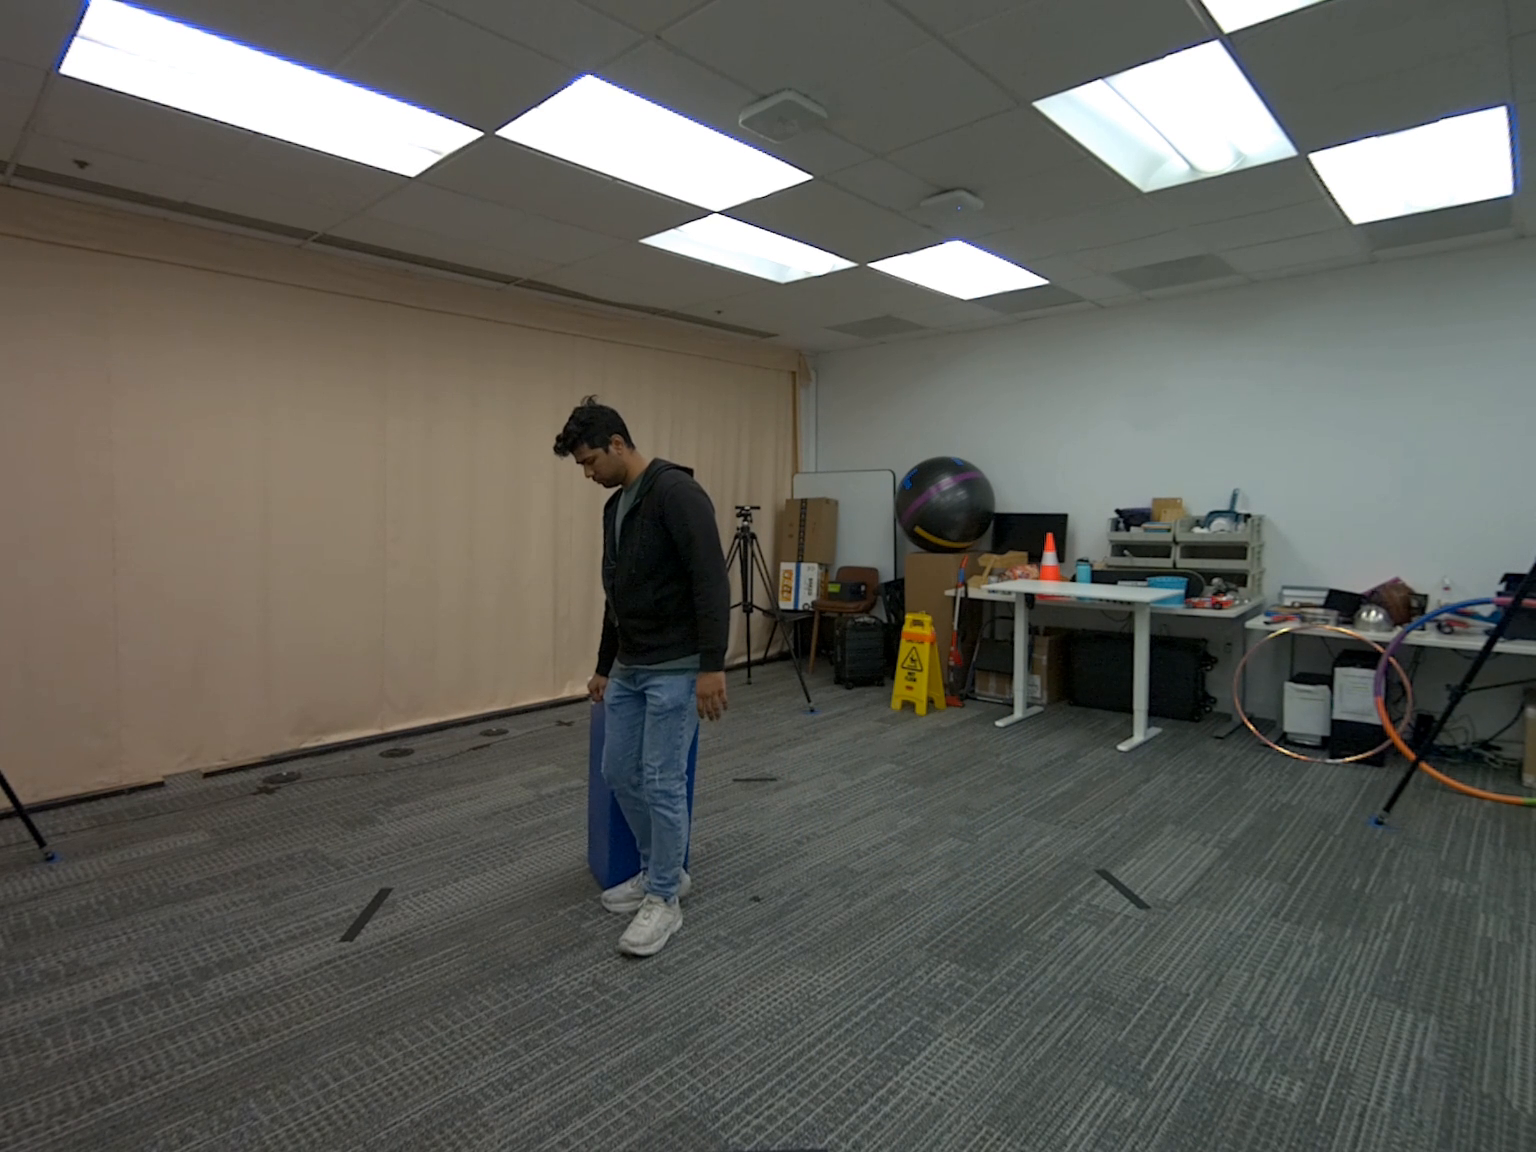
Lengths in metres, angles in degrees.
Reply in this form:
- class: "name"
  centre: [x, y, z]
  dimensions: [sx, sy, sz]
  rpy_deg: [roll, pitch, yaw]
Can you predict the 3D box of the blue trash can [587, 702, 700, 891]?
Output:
- class: "blue trash can"
  centre: [-0.473, 0.767, 3.168]
  dimensions: [0.368, 0.713, 0.384]
  rpy_deg: [2, 2, -26]
